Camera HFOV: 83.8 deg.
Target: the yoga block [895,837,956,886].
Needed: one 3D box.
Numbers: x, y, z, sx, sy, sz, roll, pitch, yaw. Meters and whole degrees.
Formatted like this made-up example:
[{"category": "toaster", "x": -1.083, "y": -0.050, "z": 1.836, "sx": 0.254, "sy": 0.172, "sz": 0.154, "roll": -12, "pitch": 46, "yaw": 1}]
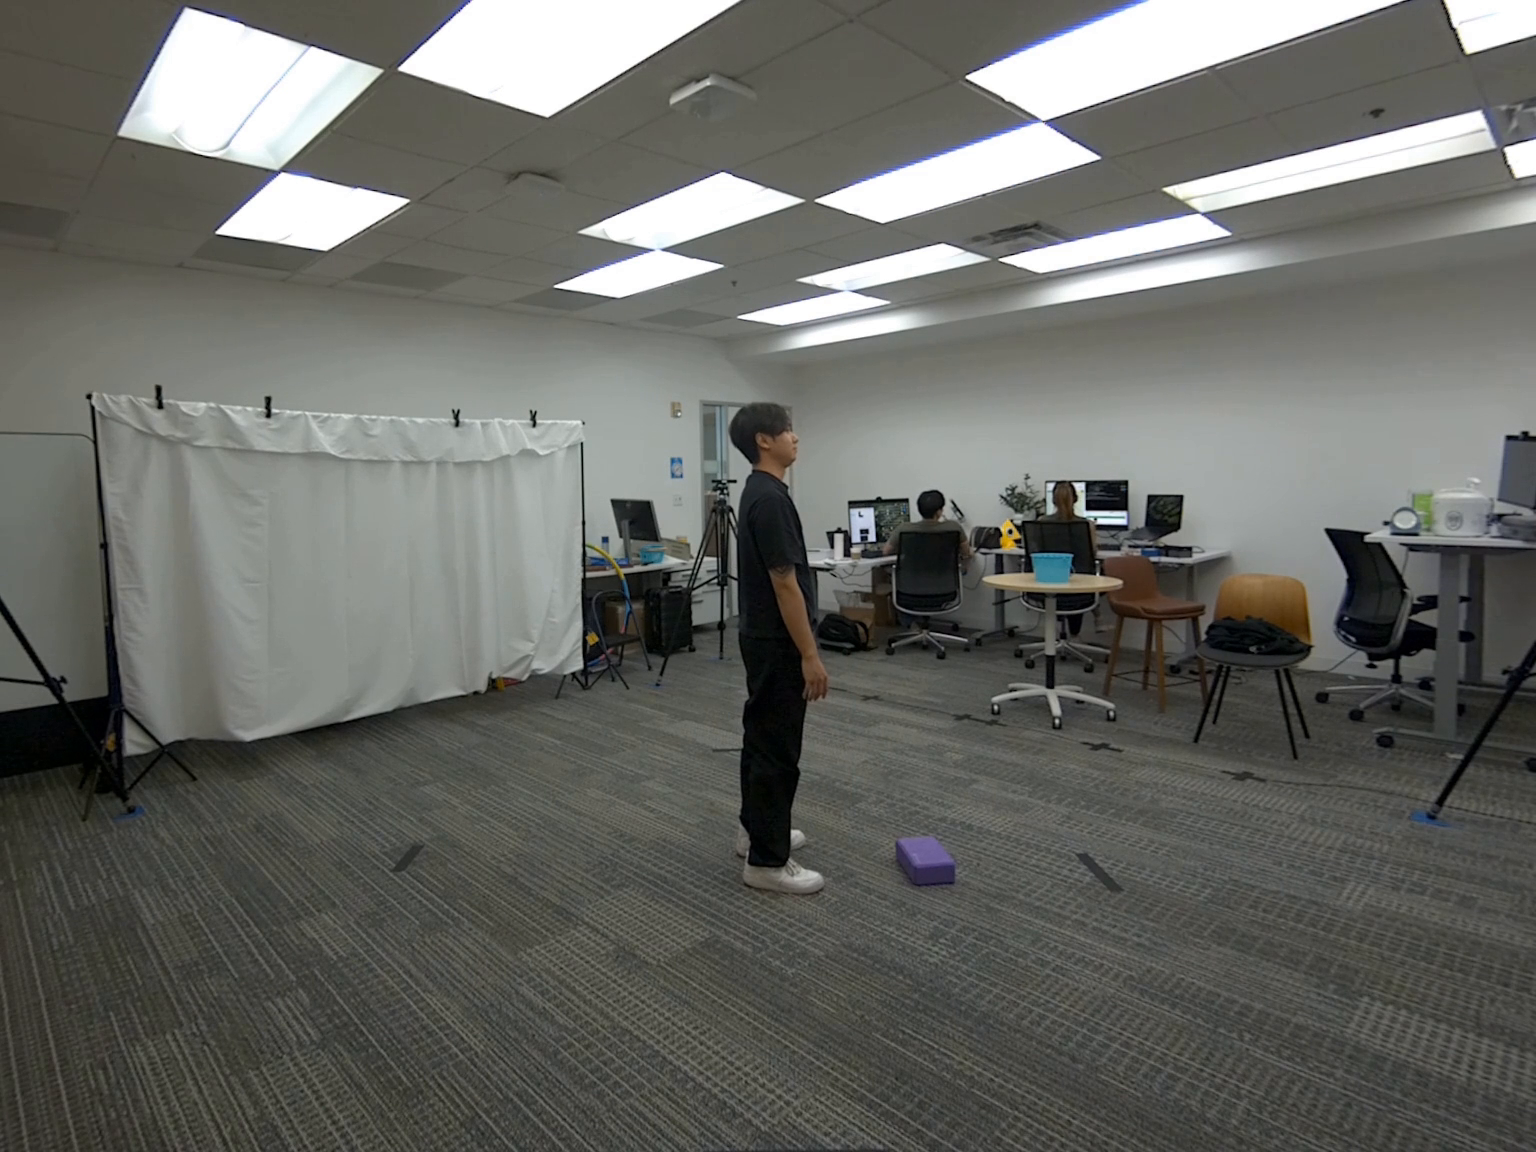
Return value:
[{"category": "yoga block", "x": 0.552, "y": 1.003, "z": 3.026, "sx": 0.148, "sy": 0.076, "sz": 0.231, "roll": -1, "pitch": 4, "yaw": -6}]
